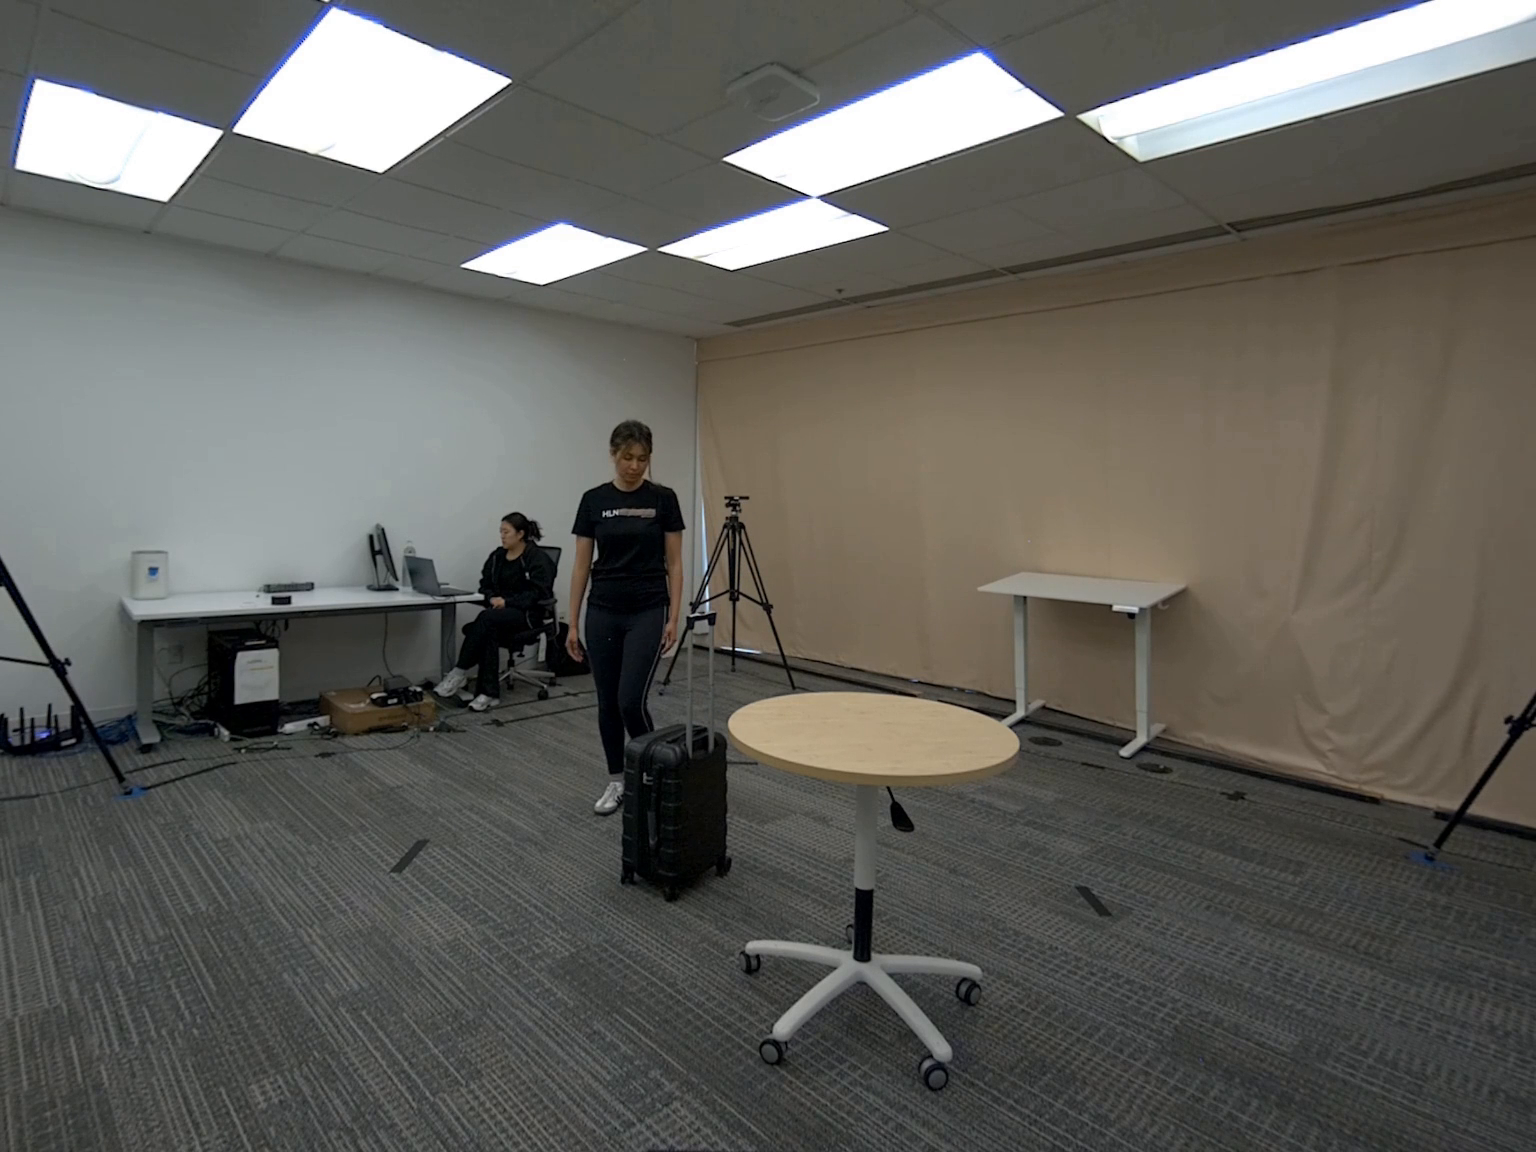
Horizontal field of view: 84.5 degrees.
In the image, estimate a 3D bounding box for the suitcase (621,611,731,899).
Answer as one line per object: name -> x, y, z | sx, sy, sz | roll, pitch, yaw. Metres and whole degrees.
suitcase -> -0.342, 0.628, 3.037 | 0.263, 0.976, 0.376 | 2, 5, 33
